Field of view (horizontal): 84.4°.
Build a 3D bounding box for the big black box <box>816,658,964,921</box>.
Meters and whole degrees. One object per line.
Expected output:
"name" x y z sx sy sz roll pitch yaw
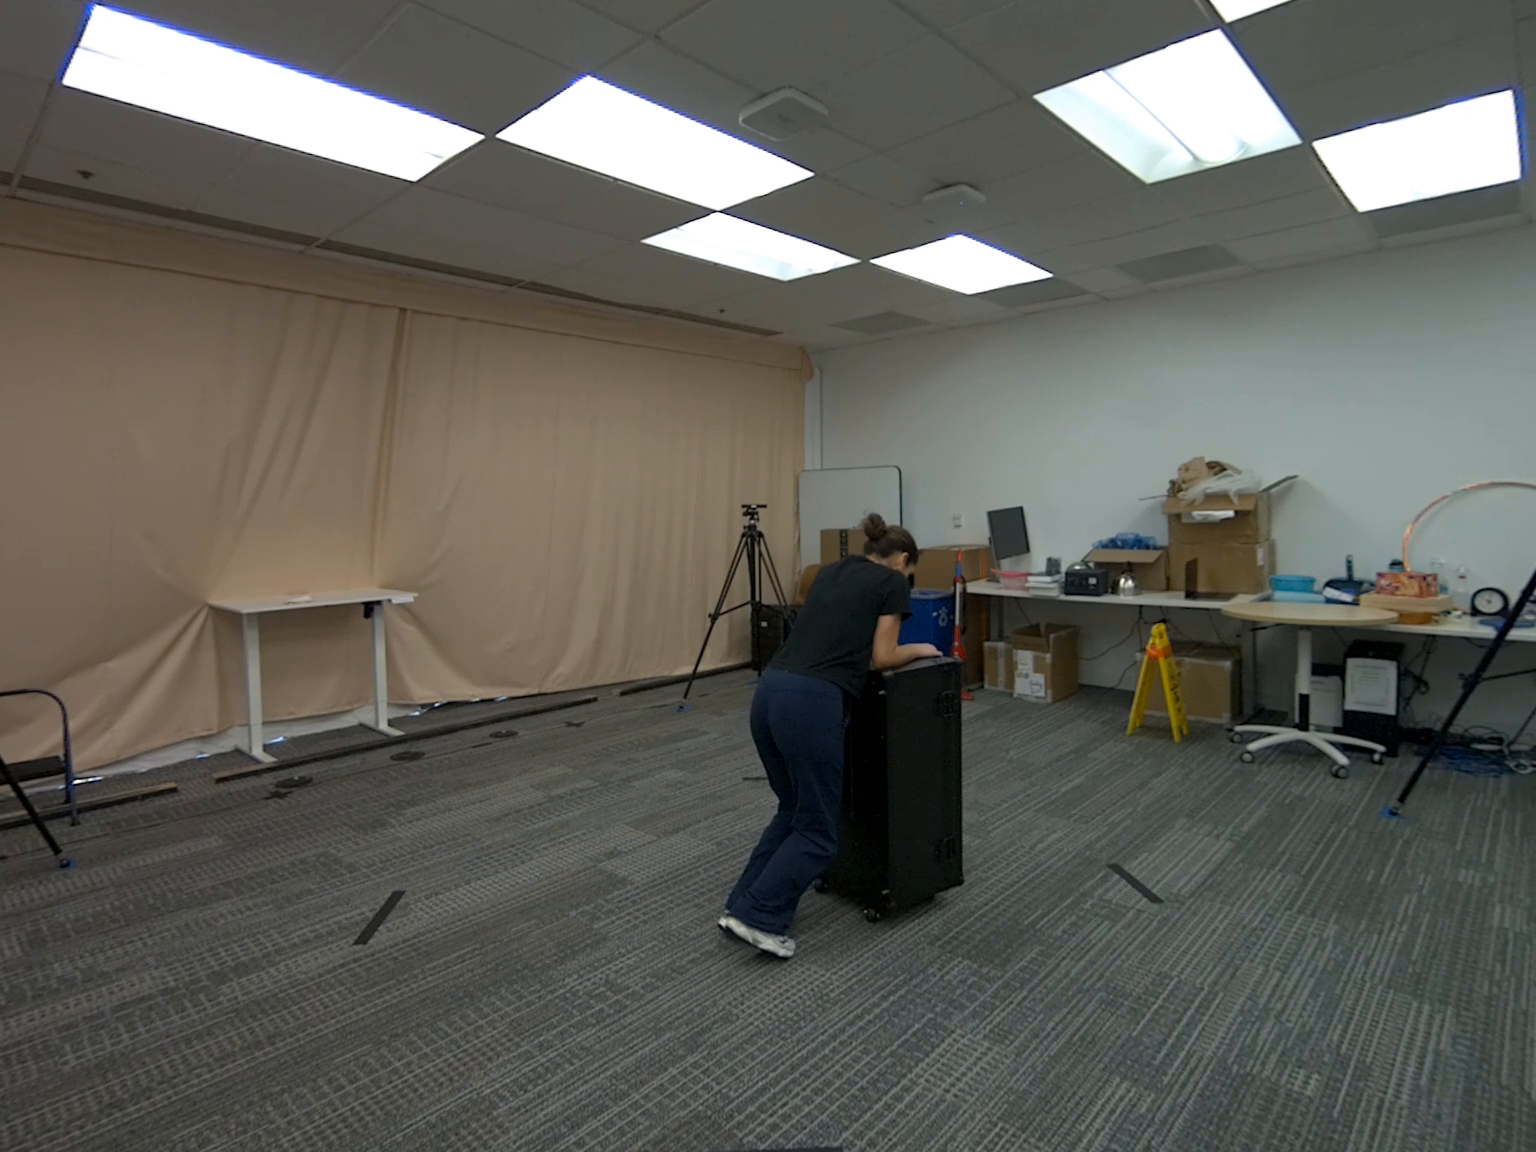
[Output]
"big black box" 0.388 0.650 2.985 0.385 0.859 0.537 -3 4 -35
